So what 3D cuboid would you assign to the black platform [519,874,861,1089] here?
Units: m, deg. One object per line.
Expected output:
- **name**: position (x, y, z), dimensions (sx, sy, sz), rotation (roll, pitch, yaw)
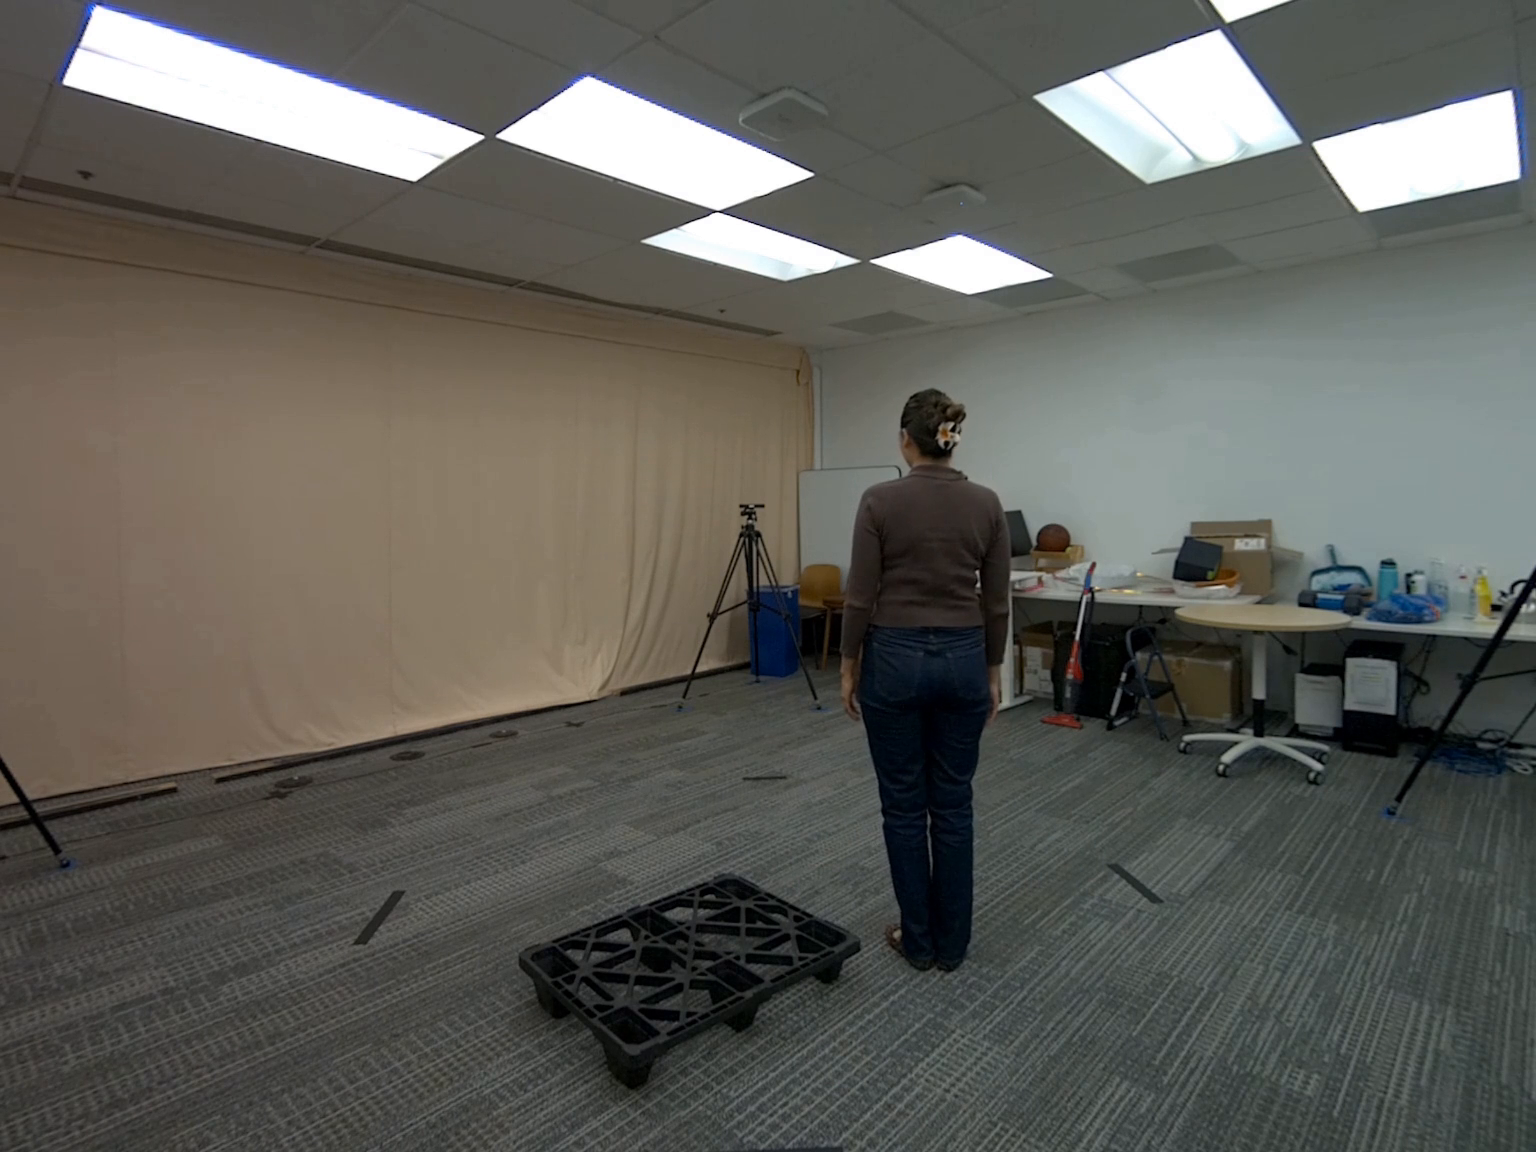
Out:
- **black platform**: position (-0.222, 1.128, 2.414), dimensions (0.781, 0.143, 0.625), rotation (-5, 6, -40)
